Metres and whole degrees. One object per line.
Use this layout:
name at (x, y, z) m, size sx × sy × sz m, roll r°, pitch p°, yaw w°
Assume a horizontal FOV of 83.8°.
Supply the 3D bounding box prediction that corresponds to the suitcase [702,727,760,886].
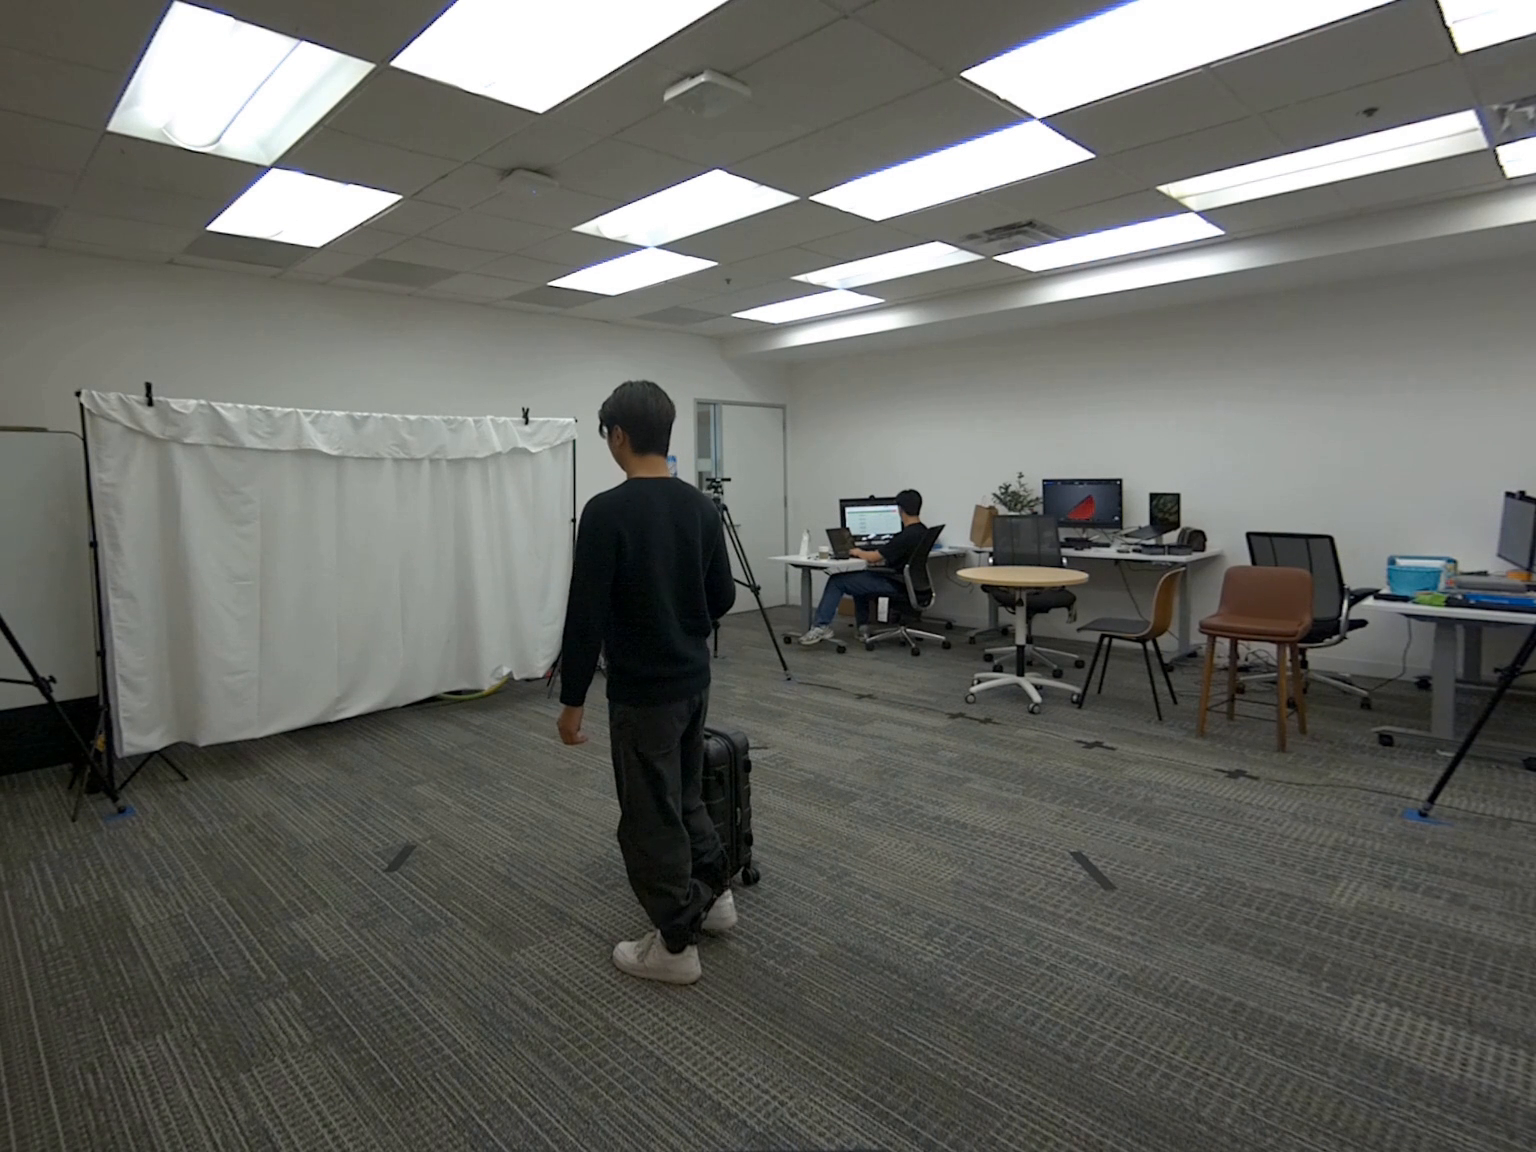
suitcase at (-0.247, 0.587, 2.955) m, size 0.394 × 0.979 × 0.250 m, roll 0°, pitch 0°, yaw 34°
